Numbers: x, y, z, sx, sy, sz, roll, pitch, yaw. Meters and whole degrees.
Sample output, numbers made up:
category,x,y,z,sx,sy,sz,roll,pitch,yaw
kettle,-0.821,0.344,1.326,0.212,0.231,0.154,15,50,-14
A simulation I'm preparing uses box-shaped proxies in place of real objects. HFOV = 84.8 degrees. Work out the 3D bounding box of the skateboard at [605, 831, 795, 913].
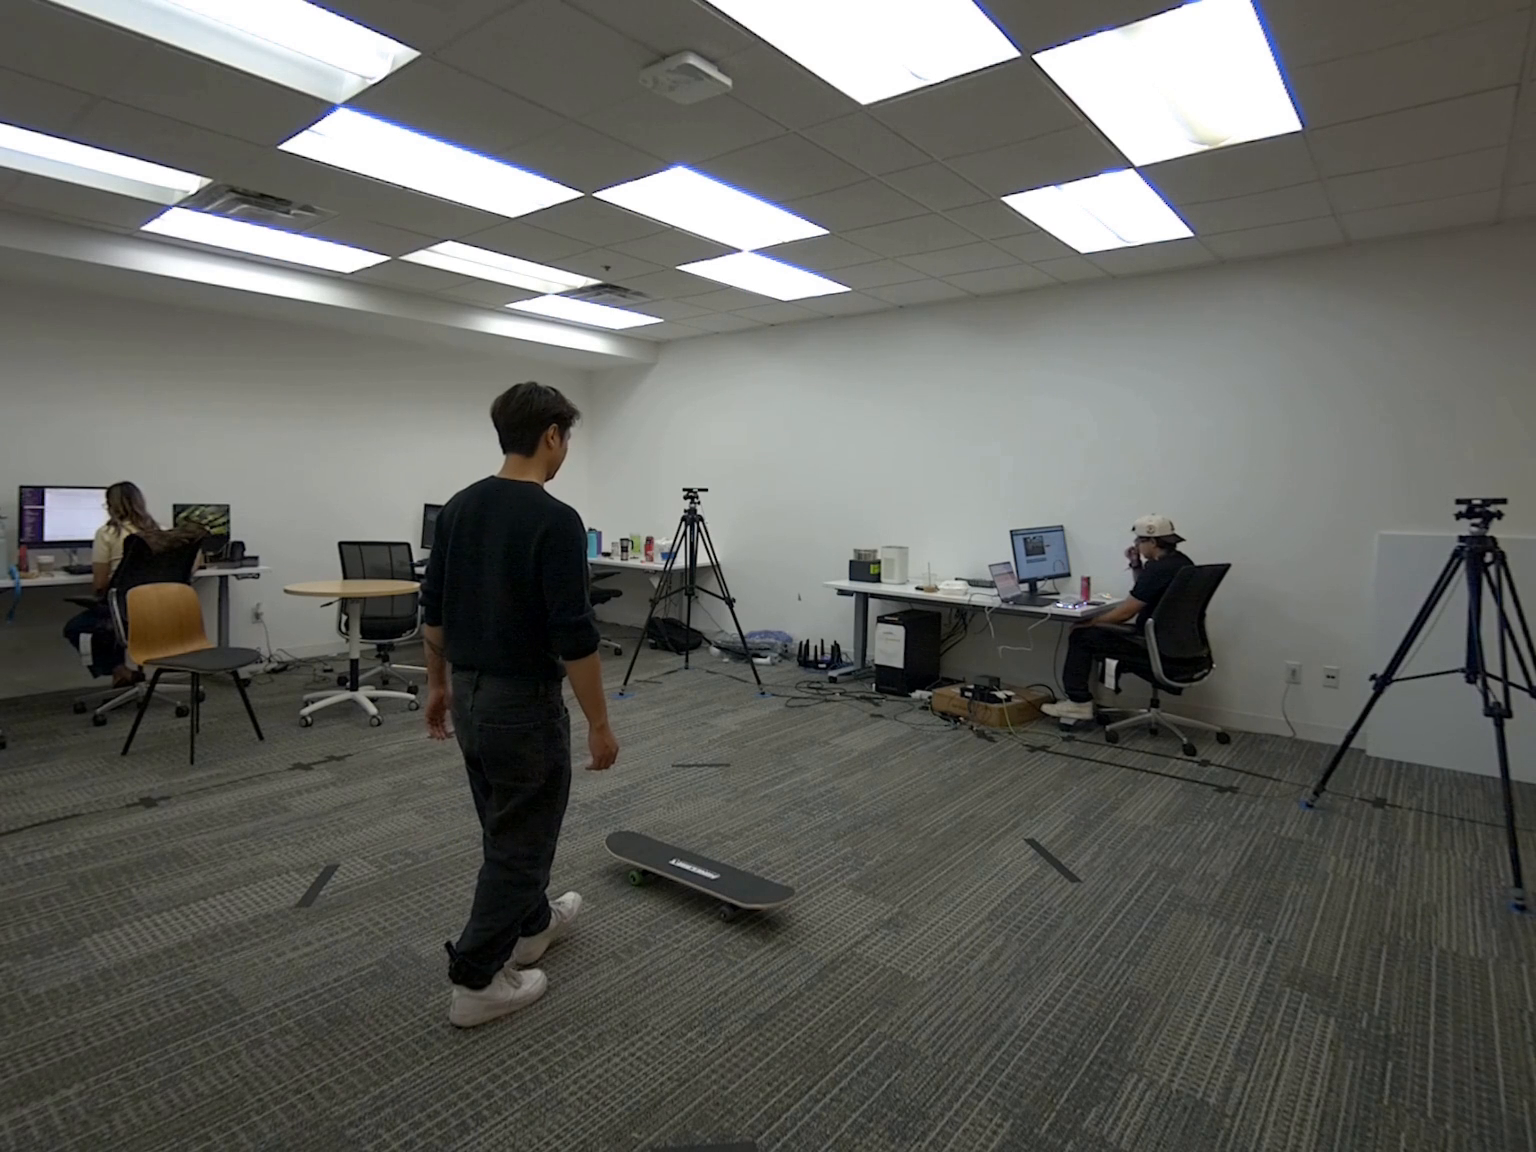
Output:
category,x,y,z,sx,sy,sz,roll,pitch,yaw
skateboard,-0.266,1.026,2.912,0.811,0.110,0.188,5,6,36
